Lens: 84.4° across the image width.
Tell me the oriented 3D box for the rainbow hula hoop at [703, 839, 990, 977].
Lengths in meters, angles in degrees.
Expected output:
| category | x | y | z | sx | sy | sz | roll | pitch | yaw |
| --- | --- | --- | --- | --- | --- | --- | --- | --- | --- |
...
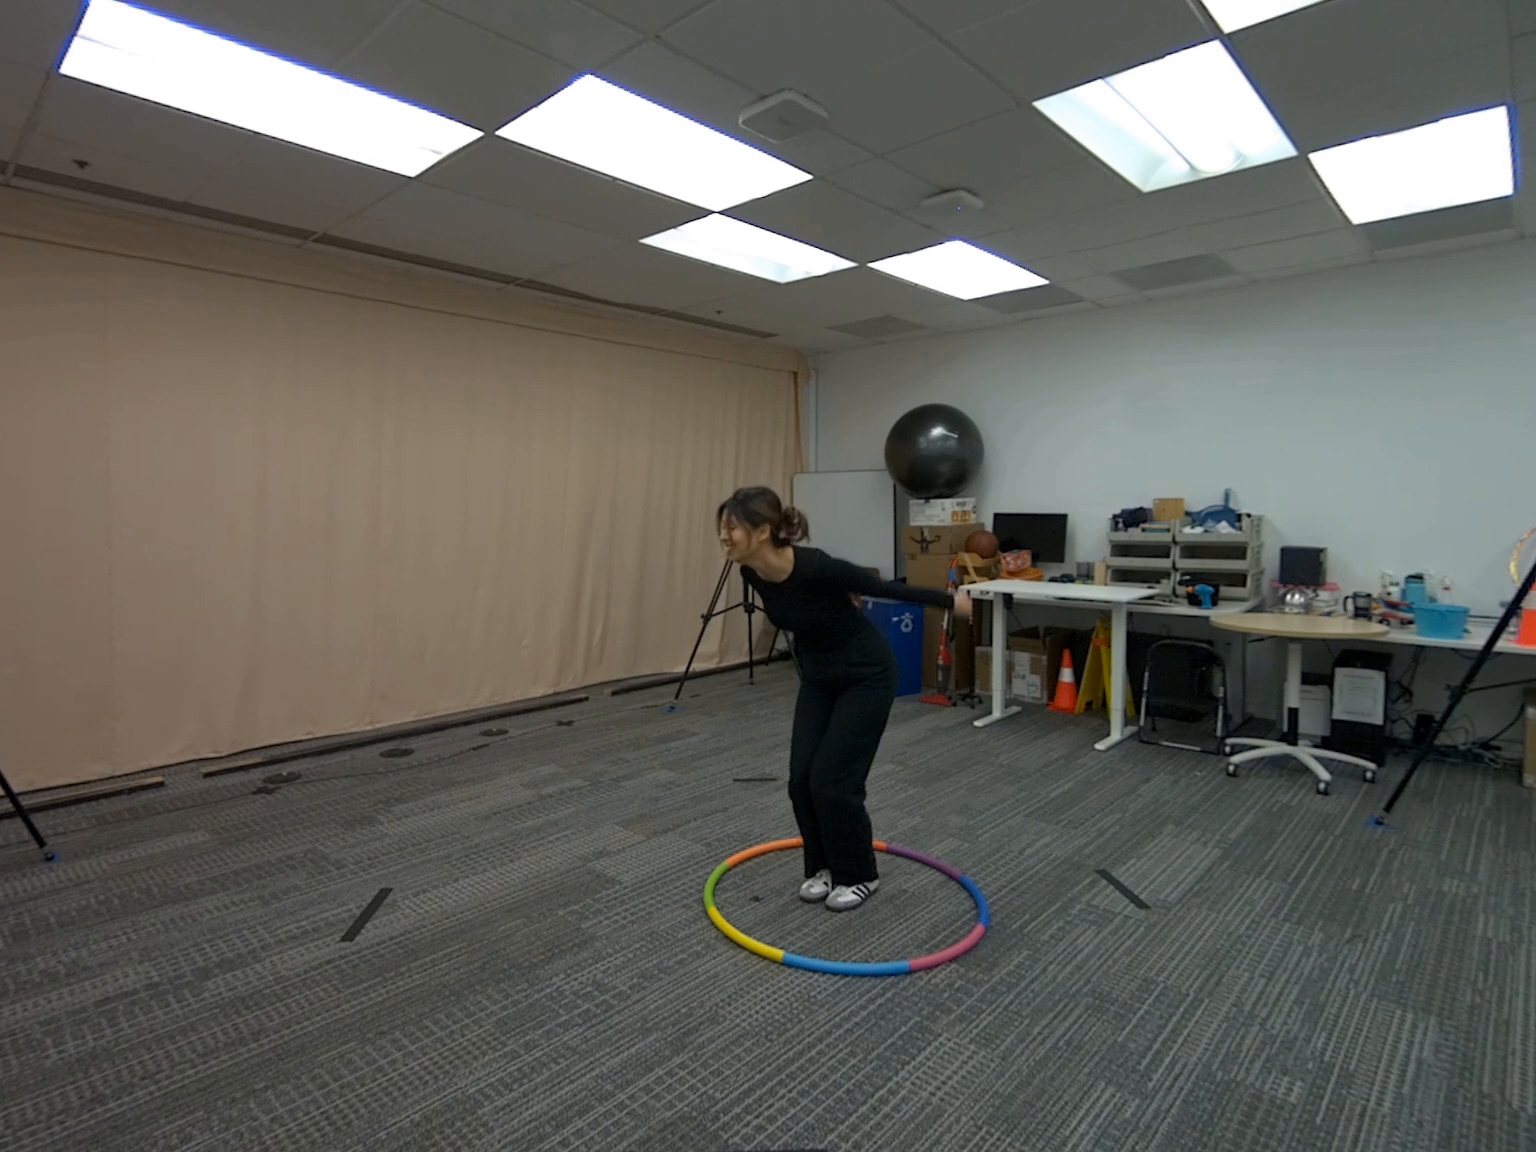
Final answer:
| category | x | y | z | sx | sy | sz | roll | pitch | yaw |
| --- | --- | --- | --- | --- | --- | --- | --- | --- | --- |
| rainbow hula hoop | 0.263 | 1.117 | 2.972 | 0.978 | 0.035 | 0.982 | 0 | 5 | -2 |
